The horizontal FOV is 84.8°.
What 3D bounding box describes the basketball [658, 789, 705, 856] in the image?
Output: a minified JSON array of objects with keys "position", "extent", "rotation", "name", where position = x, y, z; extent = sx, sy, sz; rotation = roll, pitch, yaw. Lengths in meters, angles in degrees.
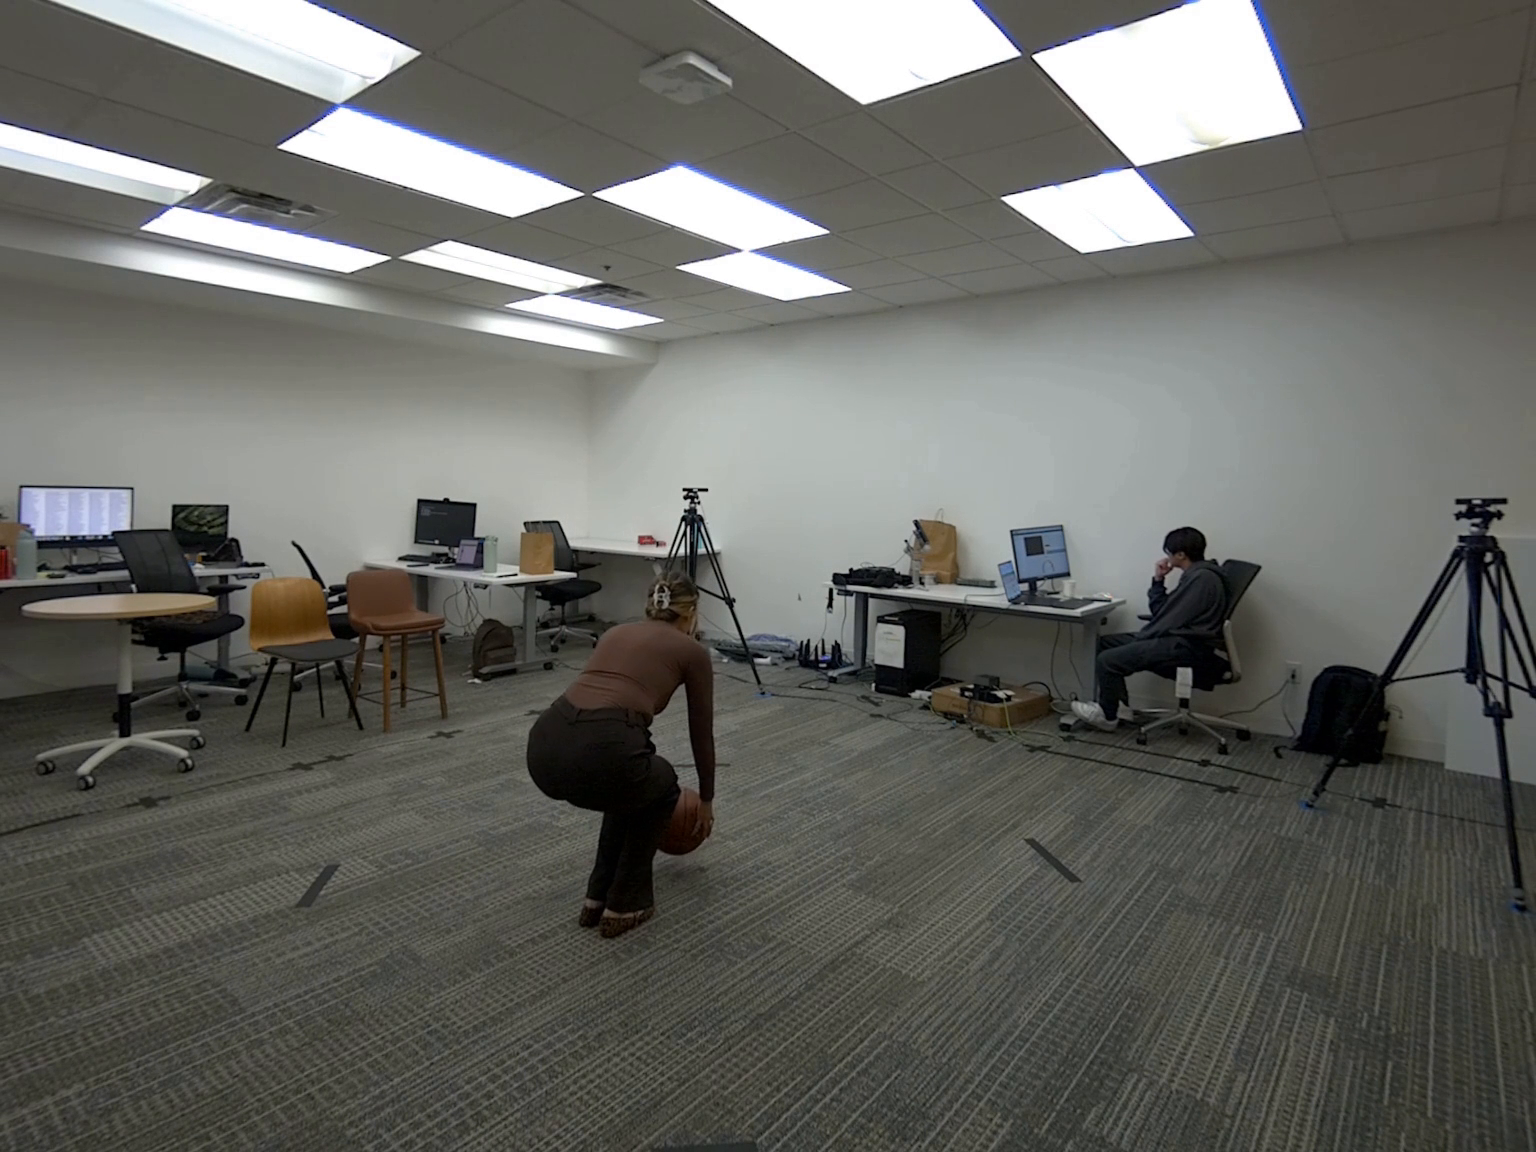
[{"position":[-0.338,0.868,3.099],"extent":[0.235,0.235,0.237],"rotation":[1,4,-2],"name":"basketball"}]
